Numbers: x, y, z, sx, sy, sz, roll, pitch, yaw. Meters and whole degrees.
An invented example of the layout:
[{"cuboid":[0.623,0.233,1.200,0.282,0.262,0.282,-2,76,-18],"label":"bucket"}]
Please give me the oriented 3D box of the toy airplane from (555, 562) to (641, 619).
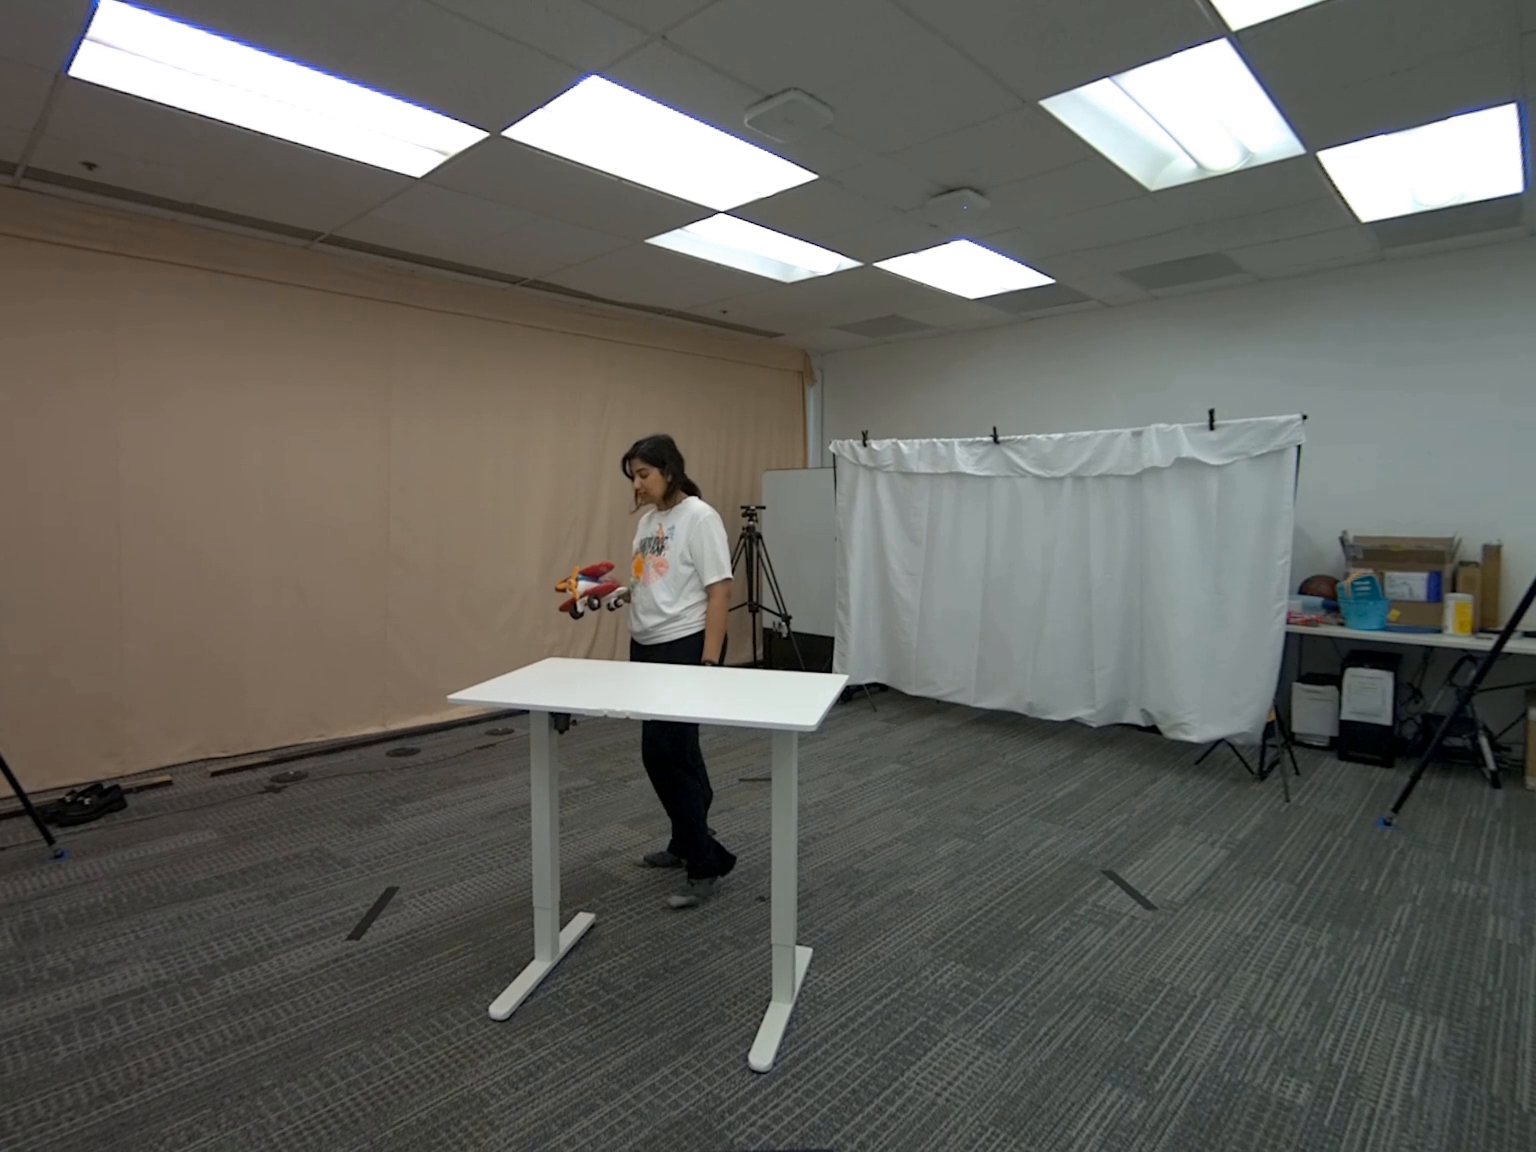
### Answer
[{"cuboid":[-0.642,0.063,3.037,0.250,0.157,0.258,-22,-6,-3],"label":"toy airplane"}]
